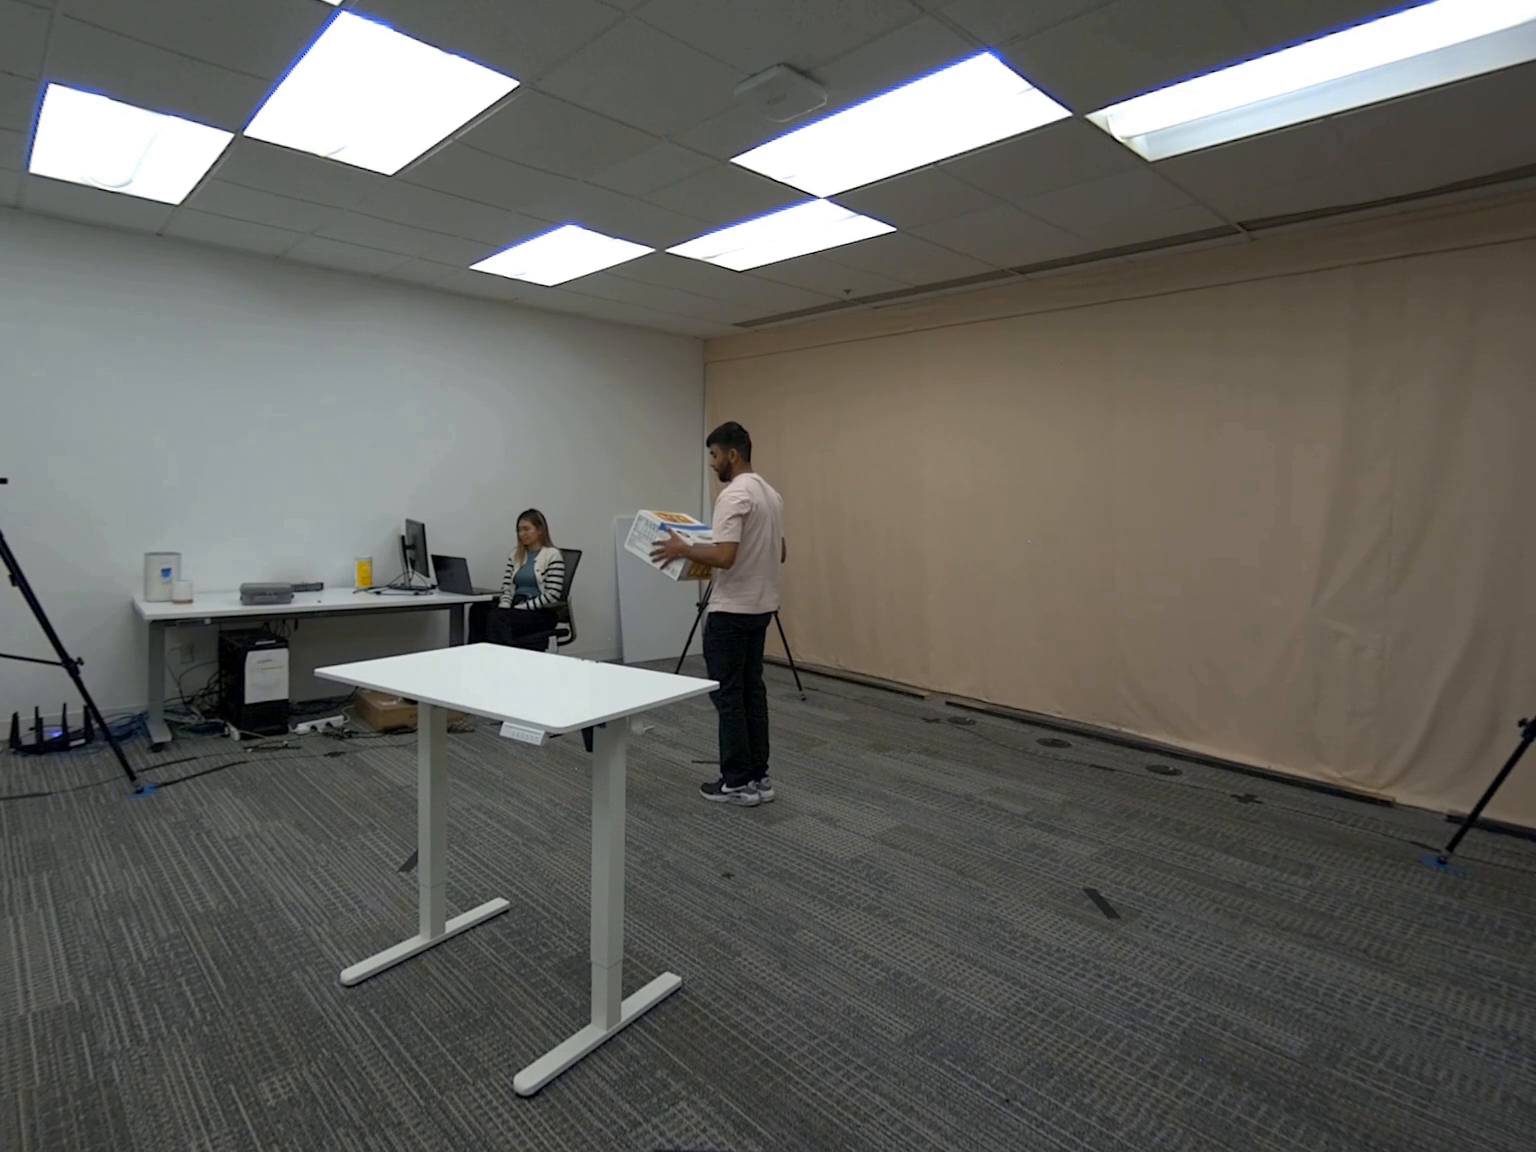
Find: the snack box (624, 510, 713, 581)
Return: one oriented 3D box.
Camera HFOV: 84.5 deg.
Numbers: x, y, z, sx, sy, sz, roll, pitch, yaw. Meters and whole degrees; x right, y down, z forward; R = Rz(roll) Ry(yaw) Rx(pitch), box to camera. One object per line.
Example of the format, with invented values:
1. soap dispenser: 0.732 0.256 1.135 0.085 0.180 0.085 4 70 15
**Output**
1. snack box: -0.421 -0.145 4.051 0.349 0.205 0.397 30 14 24
